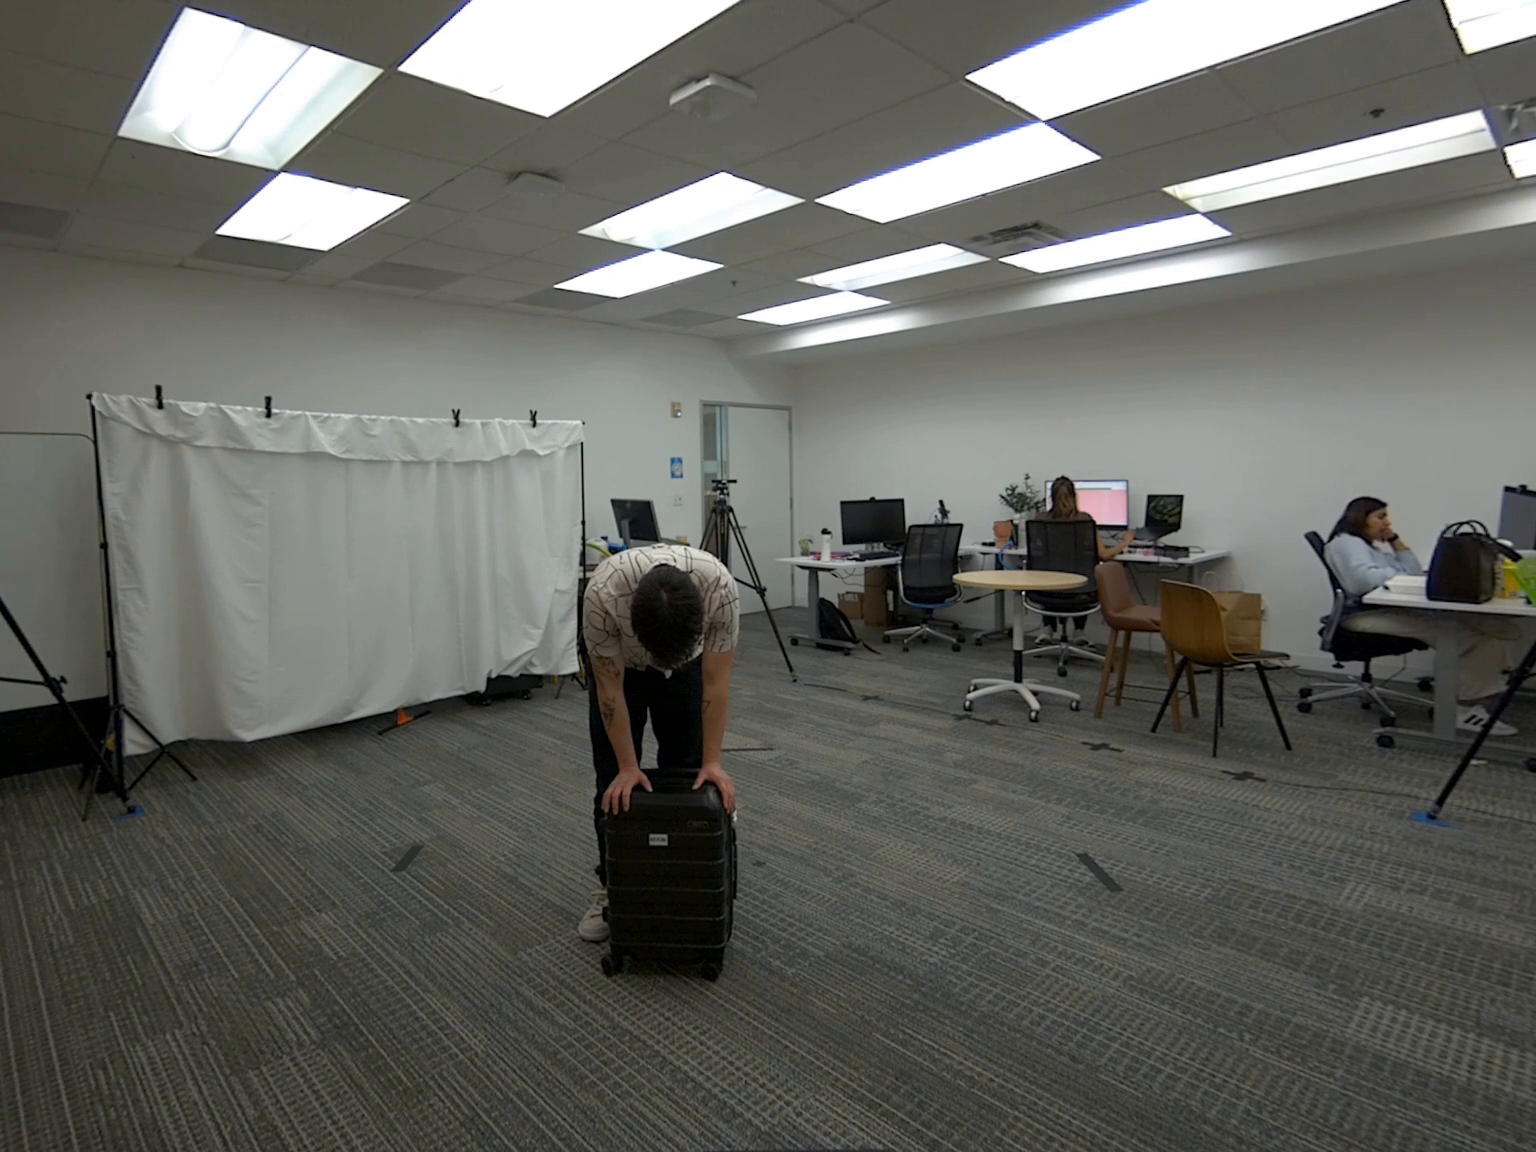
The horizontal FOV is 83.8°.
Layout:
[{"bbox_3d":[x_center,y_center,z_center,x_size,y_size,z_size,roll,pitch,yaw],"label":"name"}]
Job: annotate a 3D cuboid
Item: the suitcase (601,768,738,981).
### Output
[{"bbox_3d":[-0.279,0.851,2.493,0.377,0.546,0.248,0,6,5],"label":"suitcase"}]
